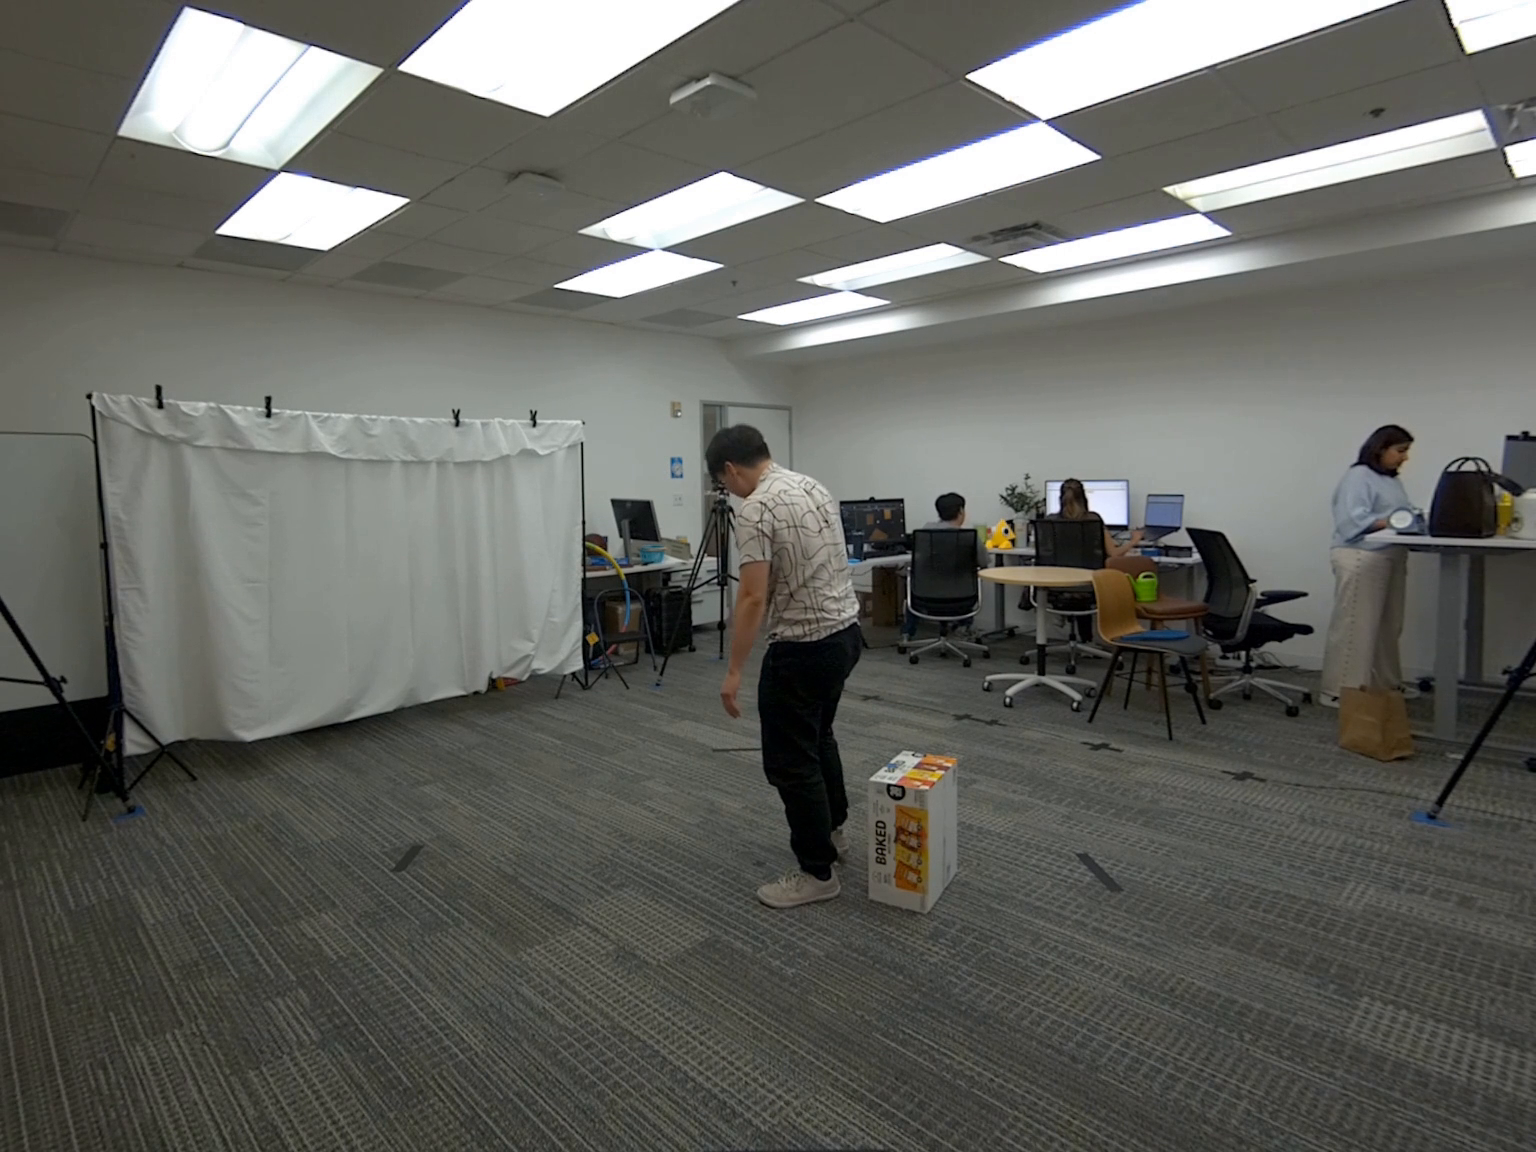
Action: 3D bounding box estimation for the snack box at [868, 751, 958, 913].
[{"bbox_3d":[0.500,0.854,2.911,0.211,0.404,0.333,1,5,28],"label":"snack box"}]
